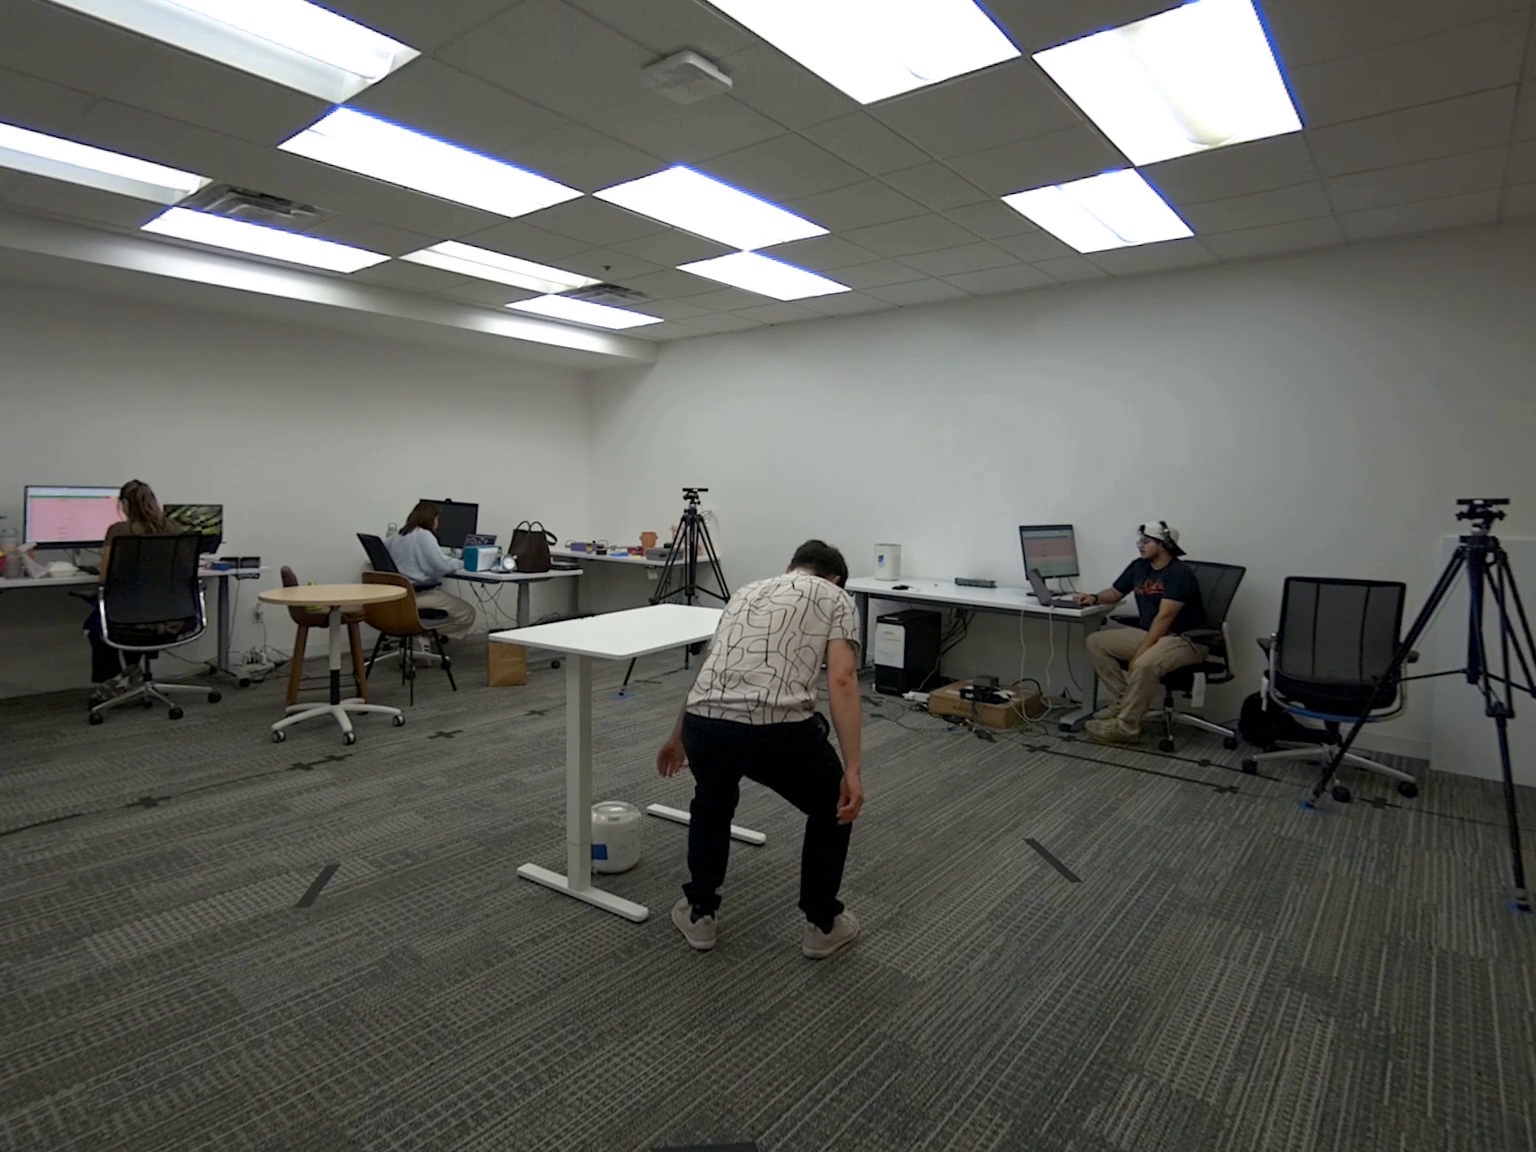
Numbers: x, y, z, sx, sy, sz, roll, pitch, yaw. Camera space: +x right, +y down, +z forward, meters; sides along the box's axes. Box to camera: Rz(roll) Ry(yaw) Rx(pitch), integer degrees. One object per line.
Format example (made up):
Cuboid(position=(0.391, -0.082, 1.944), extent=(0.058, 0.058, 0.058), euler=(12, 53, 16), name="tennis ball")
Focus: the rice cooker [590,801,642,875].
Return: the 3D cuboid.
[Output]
Cuboid(position=(-0.584, 0.943, 3.137), extent=(0.220, 0.232, 0.218), euler=(1, 5, -1), name="rice cooker")
